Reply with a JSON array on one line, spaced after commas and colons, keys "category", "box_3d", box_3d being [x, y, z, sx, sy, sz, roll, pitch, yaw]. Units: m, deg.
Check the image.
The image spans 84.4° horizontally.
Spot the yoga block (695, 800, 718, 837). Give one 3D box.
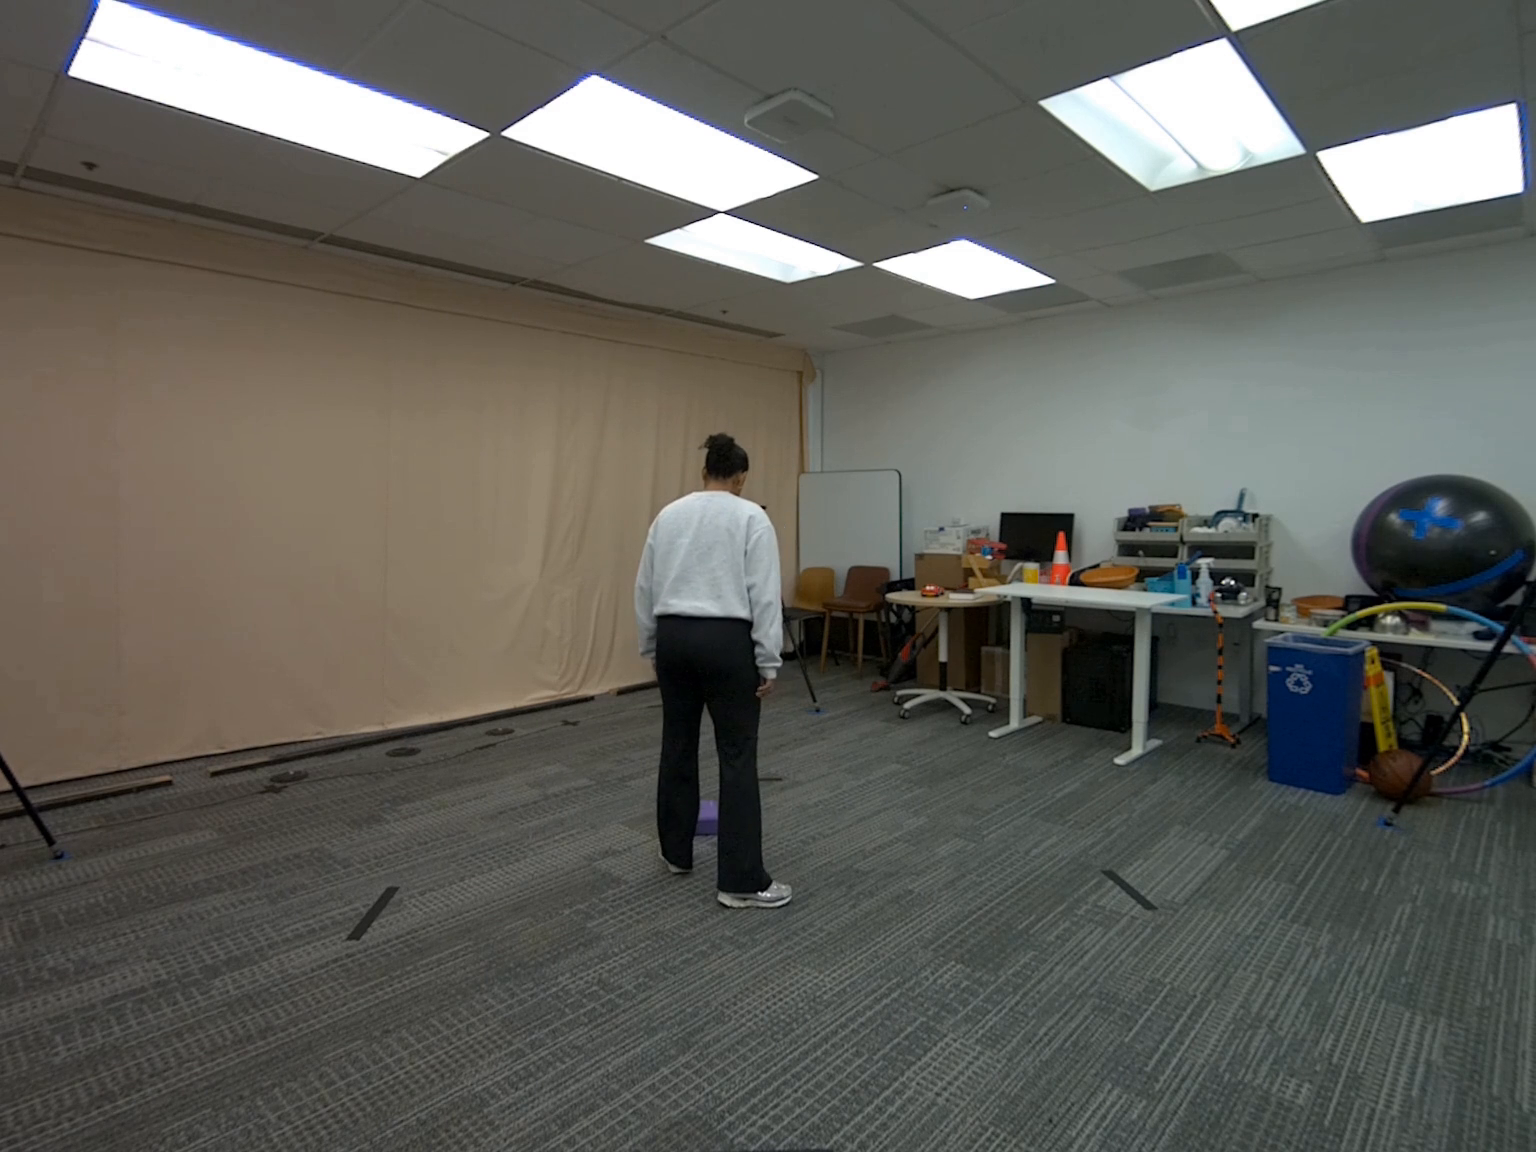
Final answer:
[{"category": "yoga block", "box_3d": [-0.289, 1.050, 3.668, 0.148, 0.076, 0.231, 0, 4, -7]}]
